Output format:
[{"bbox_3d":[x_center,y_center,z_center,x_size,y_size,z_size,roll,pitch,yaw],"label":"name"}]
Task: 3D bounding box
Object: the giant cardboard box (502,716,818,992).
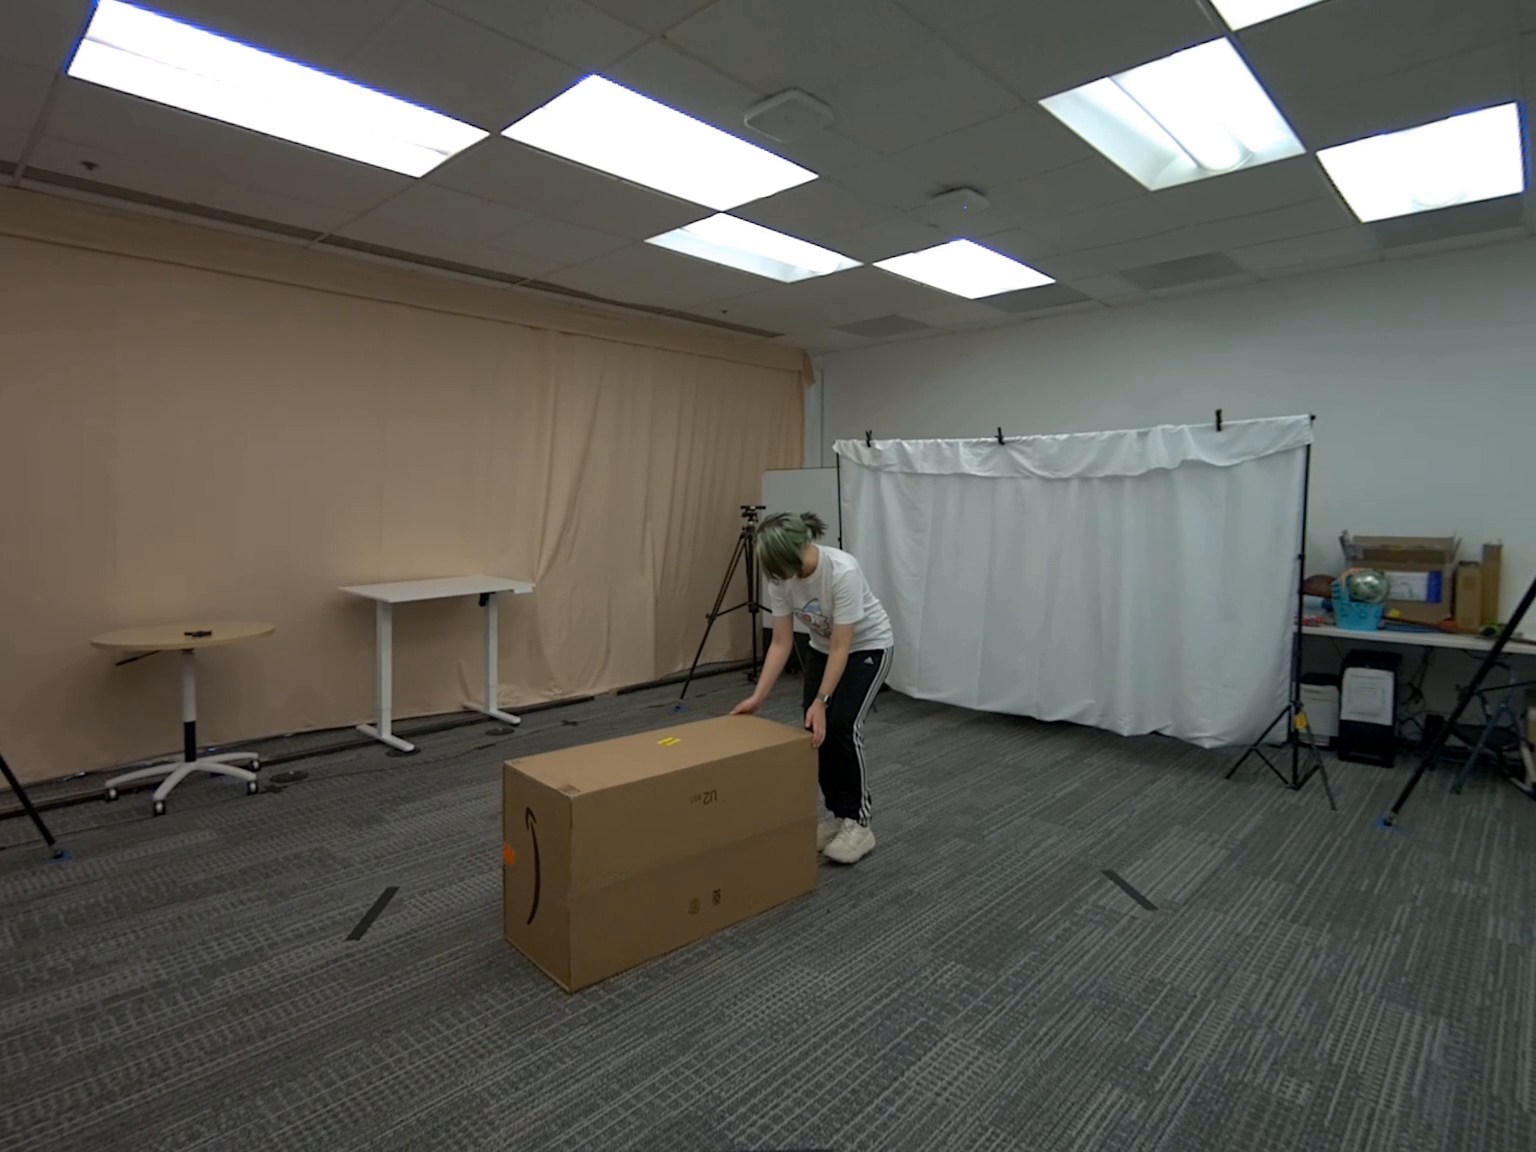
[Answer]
[{"bbox_3d":[-0.336,0.868,2.868,0.996,0.583,0.461,-3,4,-42],"label":"giant cardboard box"}]
